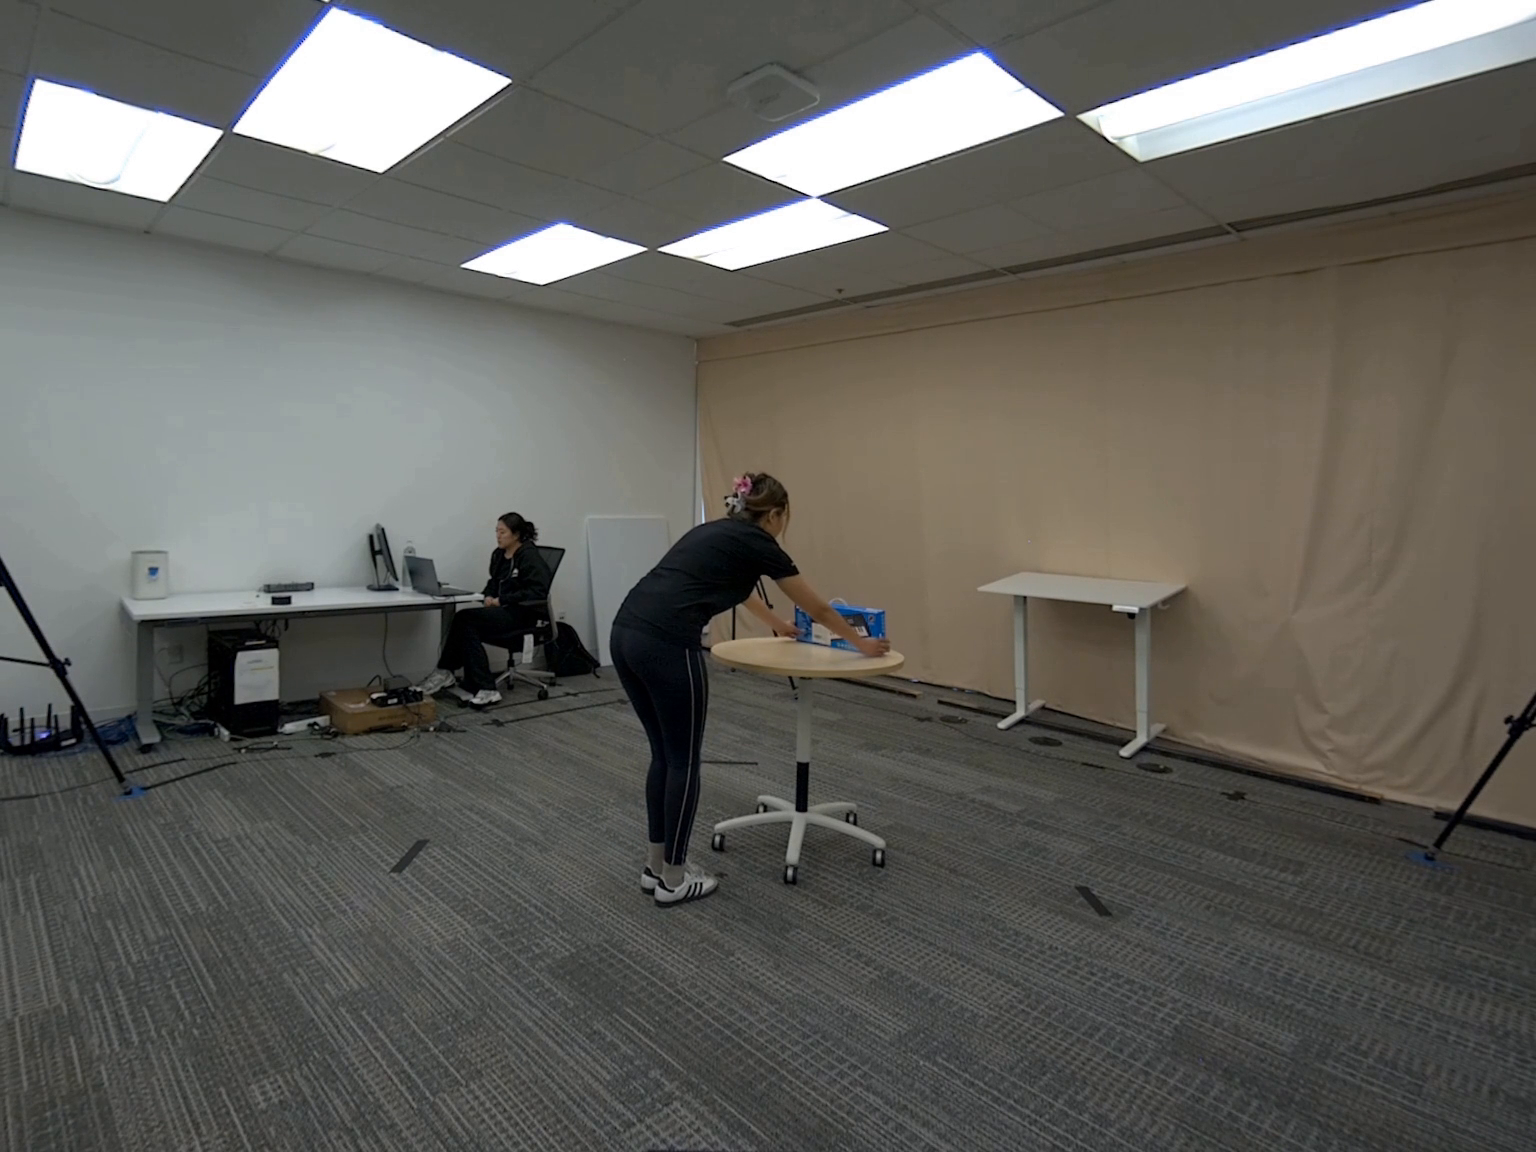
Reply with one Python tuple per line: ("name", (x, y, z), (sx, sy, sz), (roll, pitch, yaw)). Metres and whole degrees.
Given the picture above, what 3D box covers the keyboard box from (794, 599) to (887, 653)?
("keyboard box", (0.289, 0.211, 3.500), (0.058, 0.175, 0.448), (-10, 11, -44))
